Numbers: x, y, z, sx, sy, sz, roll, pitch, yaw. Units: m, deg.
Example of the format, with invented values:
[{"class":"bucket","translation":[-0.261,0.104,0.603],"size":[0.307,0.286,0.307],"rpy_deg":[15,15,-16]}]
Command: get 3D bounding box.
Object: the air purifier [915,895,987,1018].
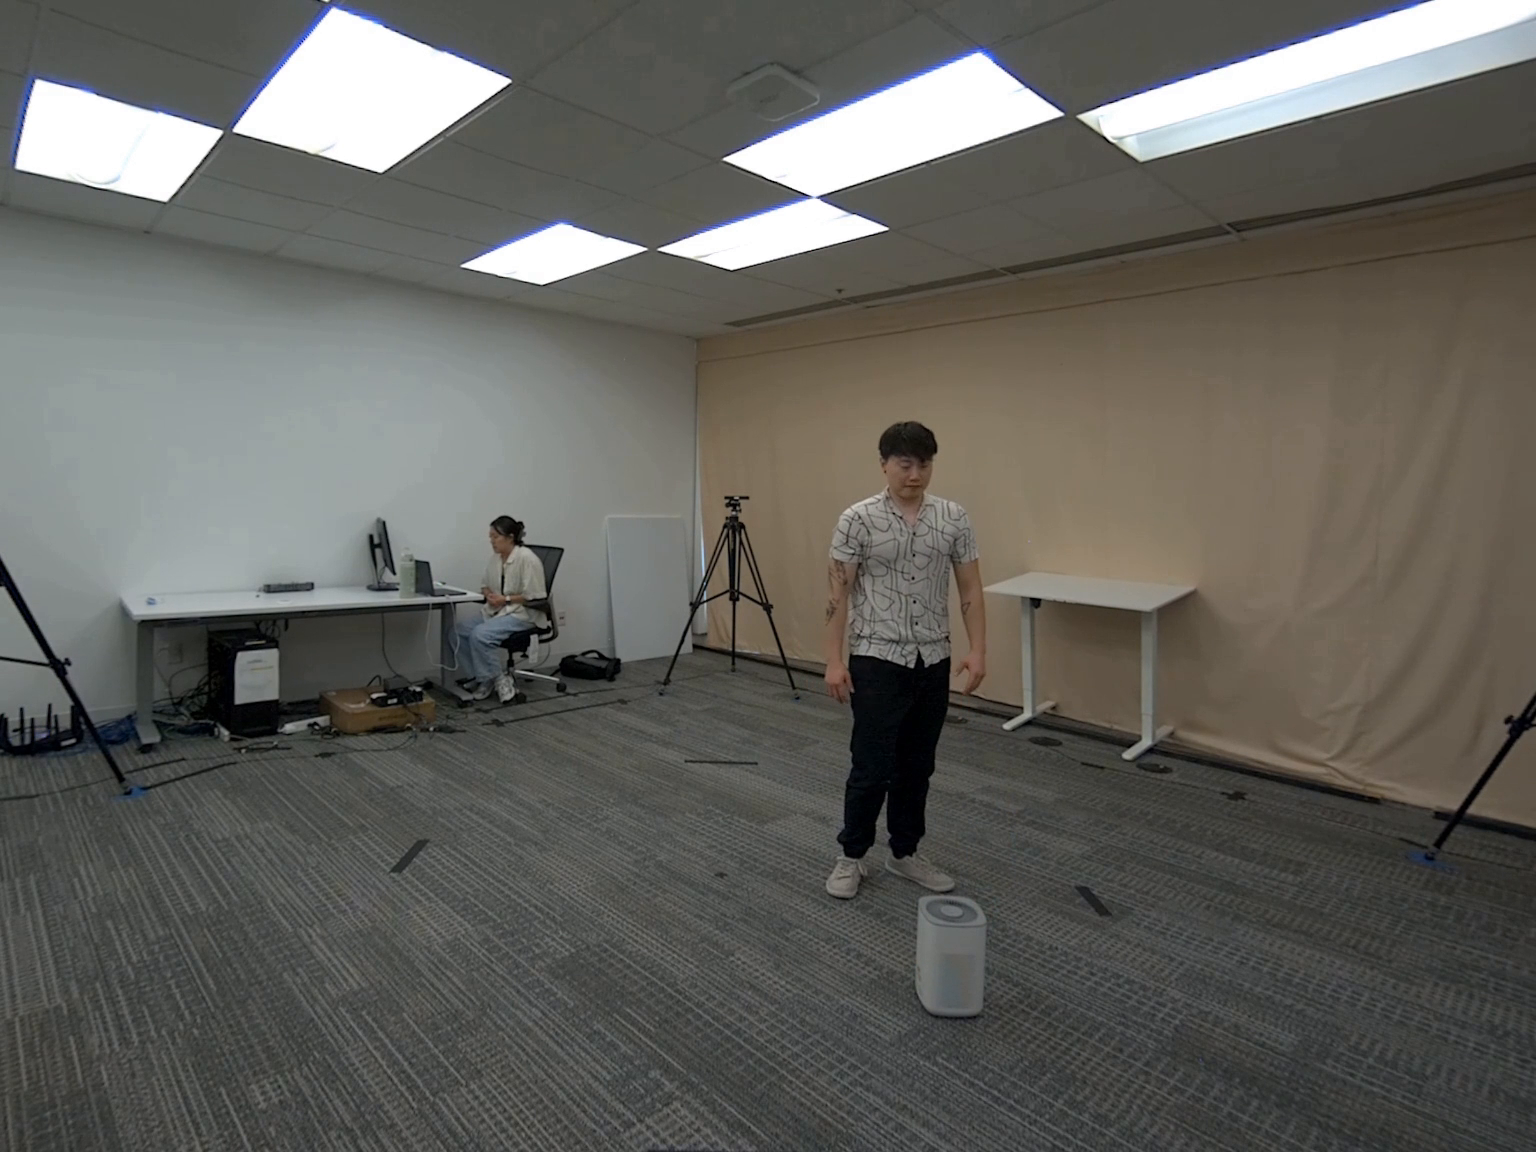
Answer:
[{"class":"air purifier","translation":[0.502,1.057,2.336],"size":[0.171,0.264,0.172],"rpy_deg":[1,4,-2]}]
